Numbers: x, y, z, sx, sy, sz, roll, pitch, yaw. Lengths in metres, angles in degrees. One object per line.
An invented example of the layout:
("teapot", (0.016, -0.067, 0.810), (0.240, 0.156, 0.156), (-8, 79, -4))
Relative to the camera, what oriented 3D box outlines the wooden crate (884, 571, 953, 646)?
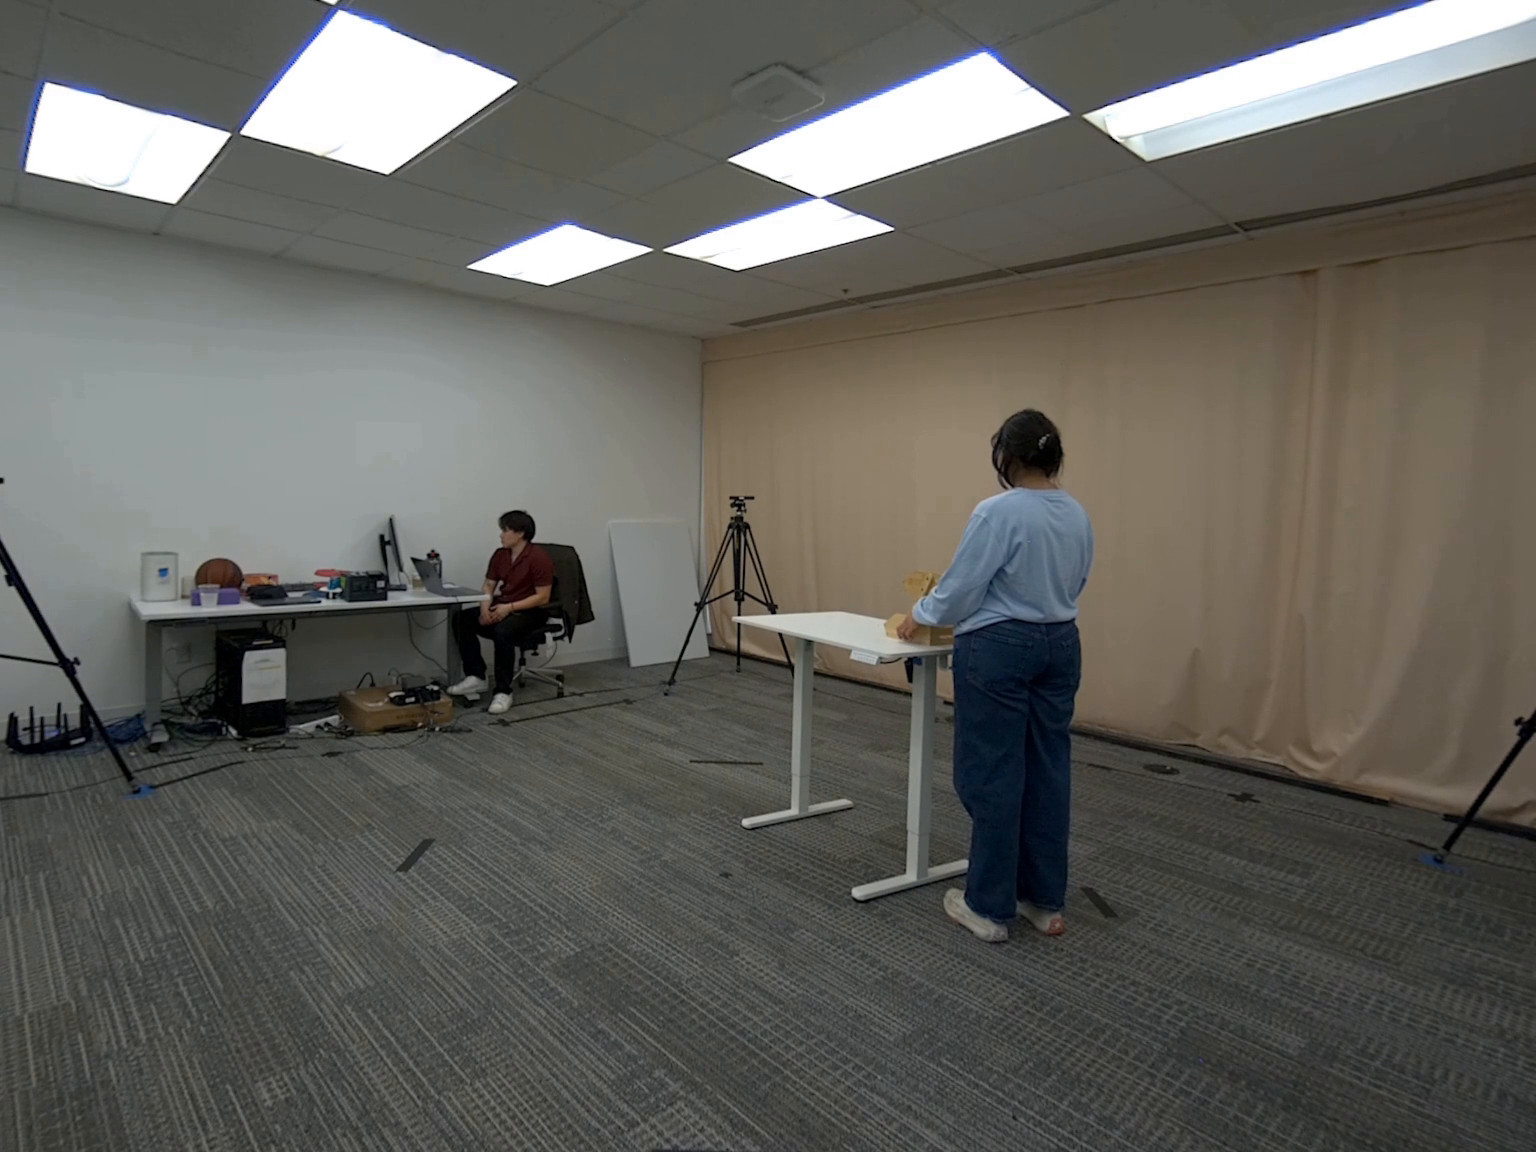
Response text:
("wooden crate", (0.647, 0.107, 3.131), (0.318, 0.272, 0.309), (0, 5, -30))
